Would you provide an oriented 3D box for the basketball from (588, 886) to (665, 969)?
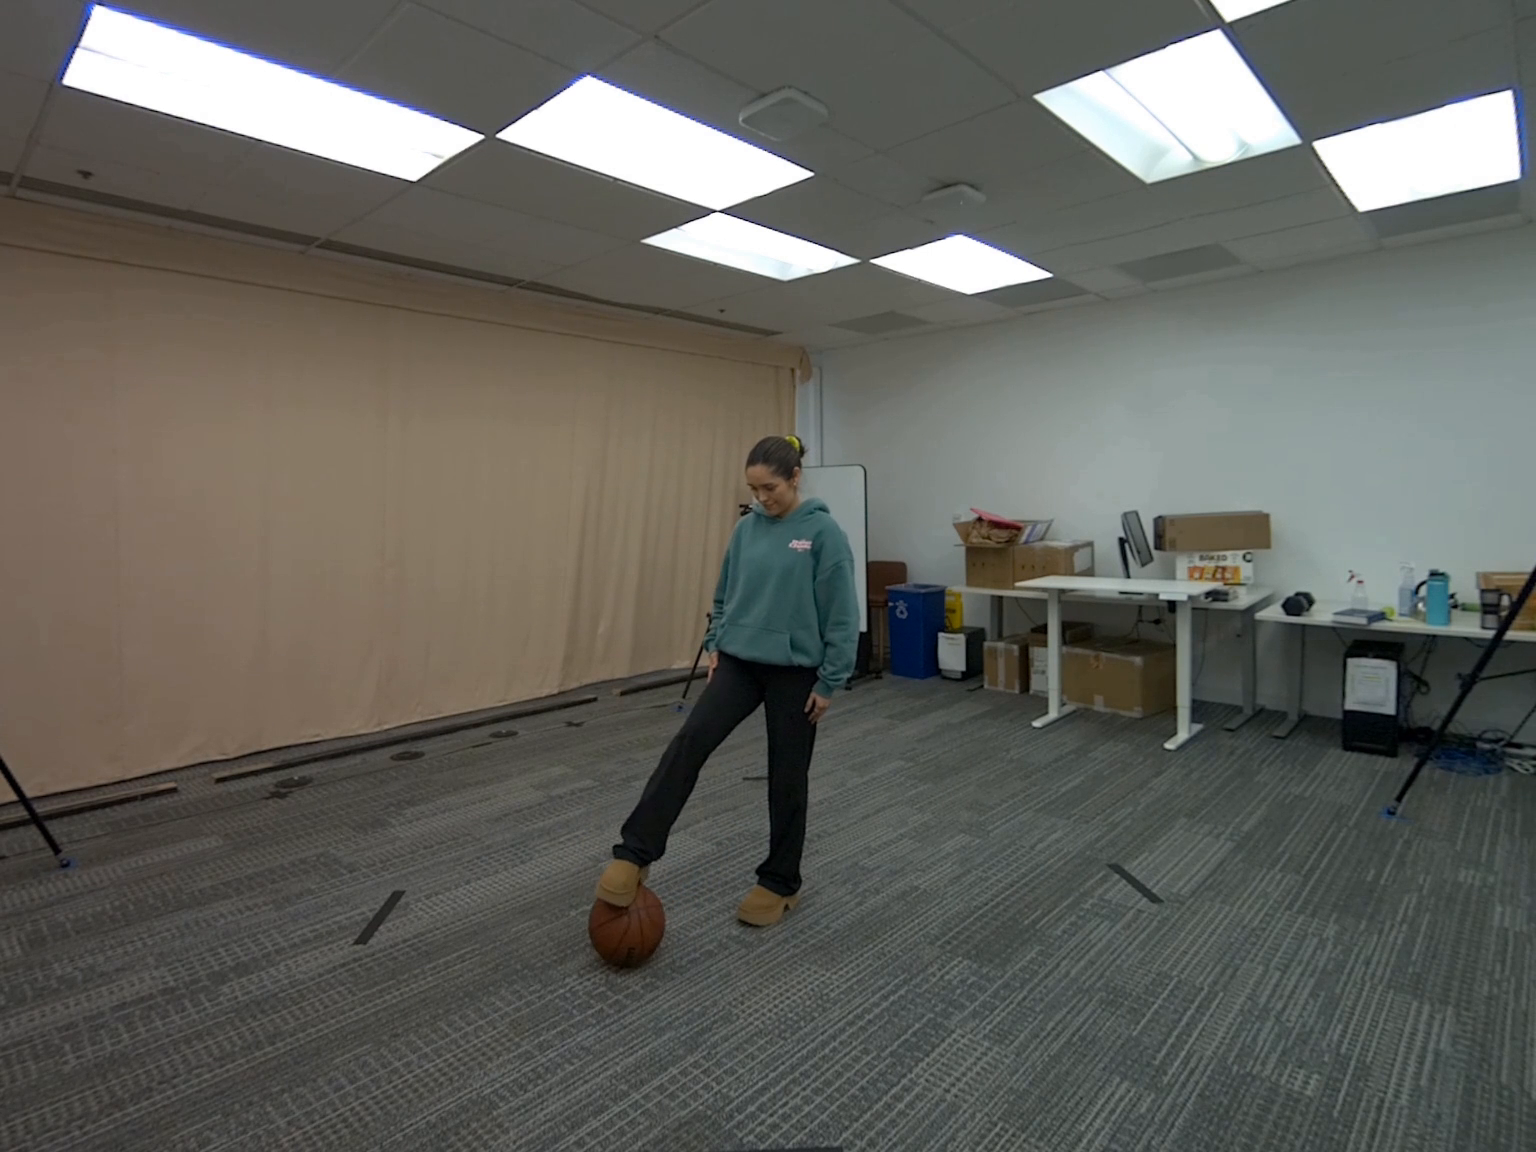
[{"bbox_3d":[-0.431,1.066,2.586,0.236,0.235,0.237,-1,4,-2],"label":"basketball"}]
